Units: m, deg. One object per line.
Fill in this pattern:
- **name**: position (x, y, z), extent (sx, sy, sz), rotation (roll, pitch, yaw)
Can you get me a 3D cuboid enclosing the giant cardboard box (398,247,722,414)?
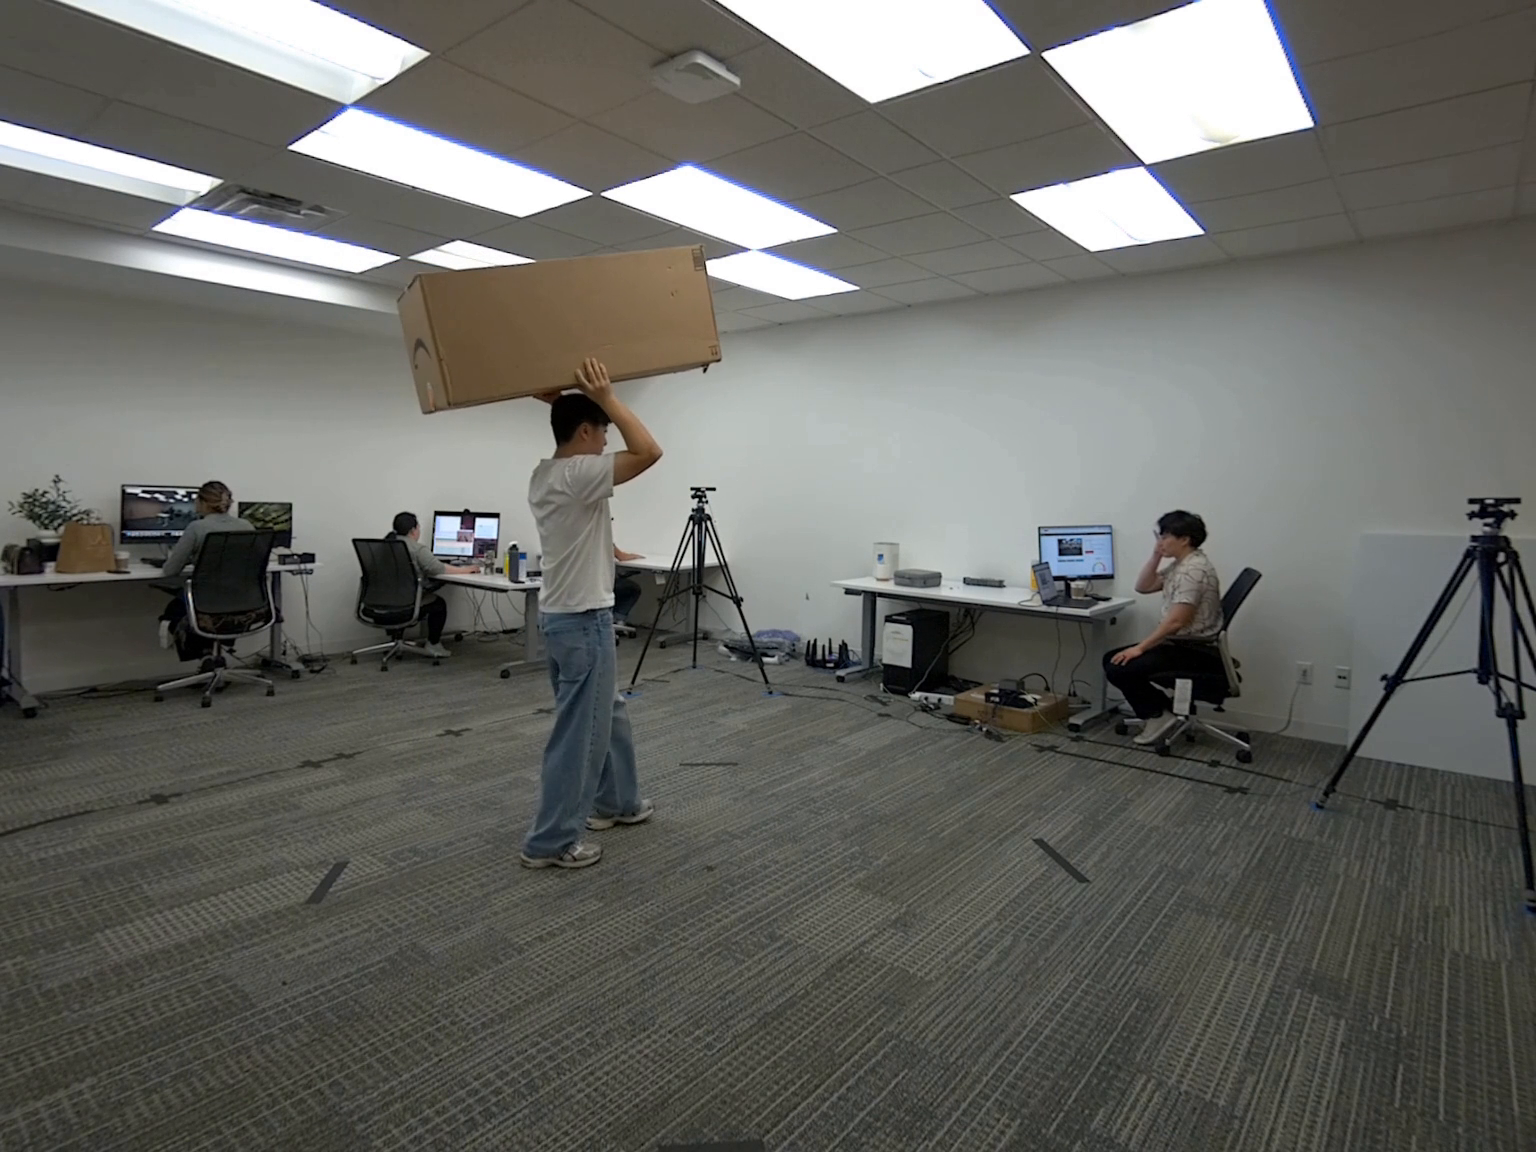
- **giant cardboard box**: position (-0.788, -0.905, 3.166), extent (1.007, 0.421, 0.596), rotation (-16, 14, -26)
